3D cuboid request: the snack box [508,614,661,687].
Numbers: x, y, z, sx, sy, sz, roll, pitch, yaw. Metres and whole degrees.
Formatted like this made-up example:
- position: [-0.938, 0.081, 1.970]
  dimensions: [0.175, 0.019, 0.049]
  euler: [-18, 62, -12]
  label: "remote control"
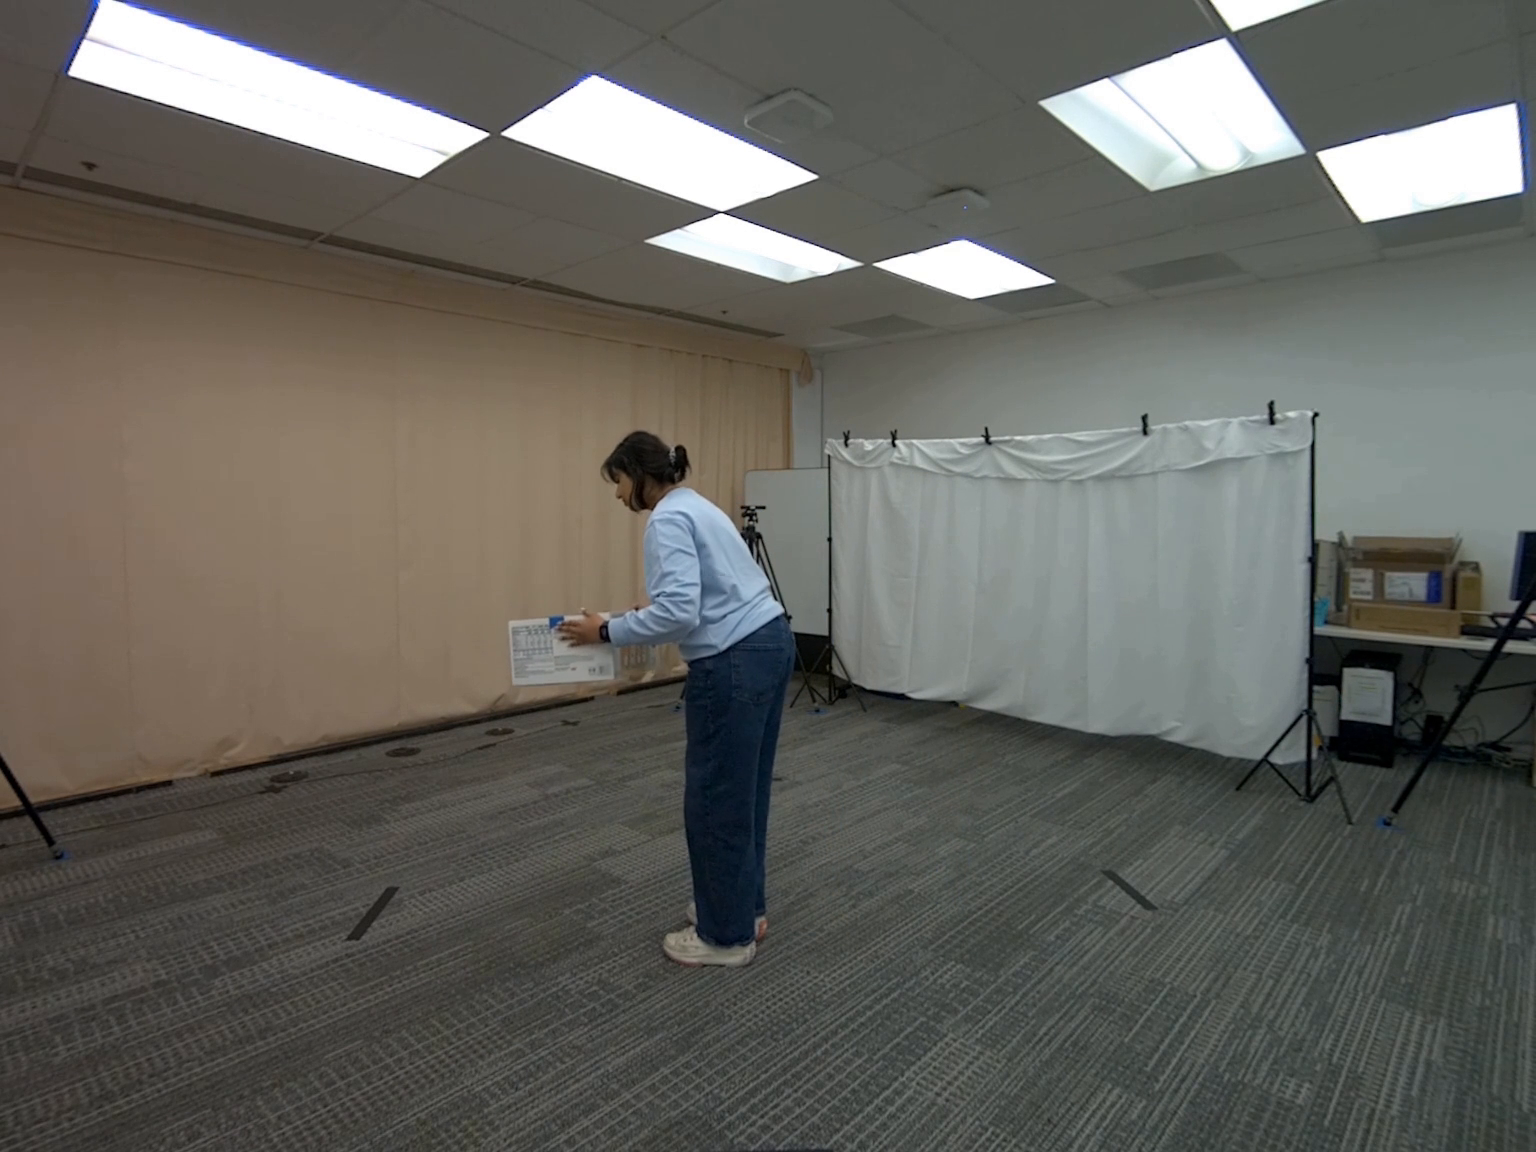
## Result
- position: [-0.585, 0.232, 2.732]
  dimensions: [0.345, 0.206, 0.399]
  euler: [-5, -3, 12]
  label: "snack box"
